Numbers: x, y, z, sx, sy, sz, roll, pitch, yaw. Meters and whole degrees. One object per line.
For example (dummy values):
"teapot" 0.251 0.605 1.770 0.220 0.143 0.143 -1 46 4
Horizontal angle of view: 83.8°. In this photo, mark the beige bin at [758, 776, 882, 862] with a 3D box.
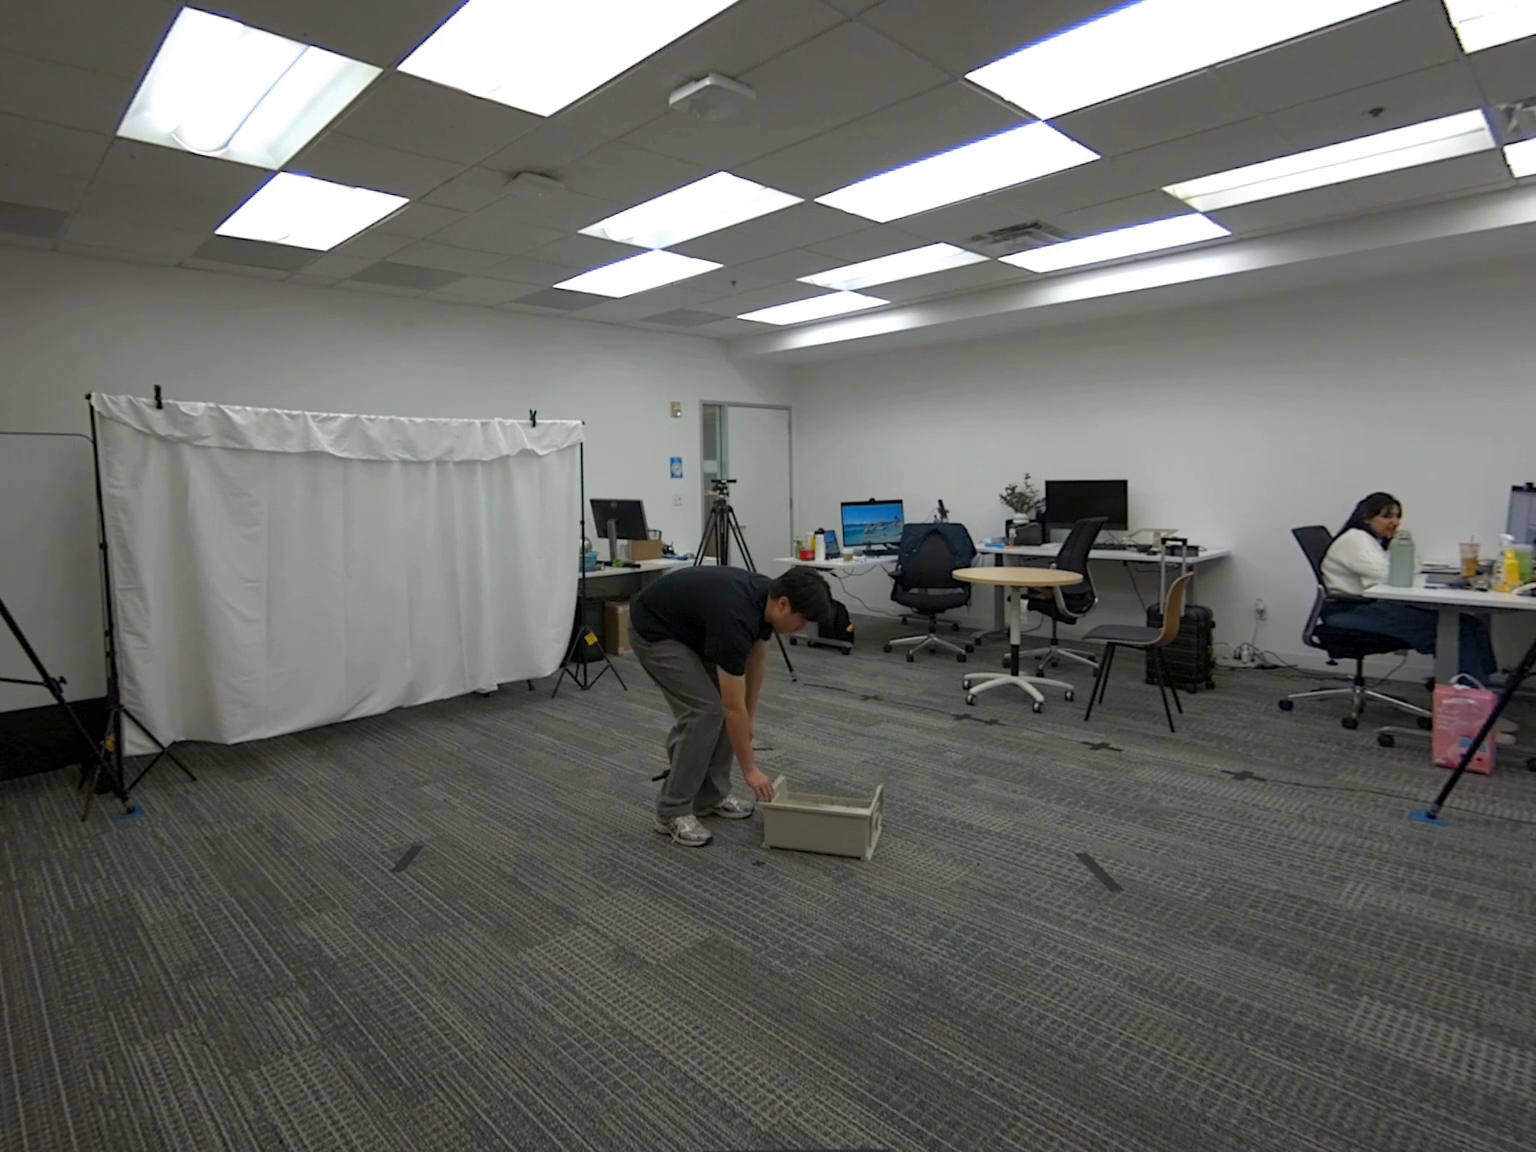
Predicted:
"beige bin" 0.217 0.925 3.339 0.430 0.188 0.373 1 7 17
